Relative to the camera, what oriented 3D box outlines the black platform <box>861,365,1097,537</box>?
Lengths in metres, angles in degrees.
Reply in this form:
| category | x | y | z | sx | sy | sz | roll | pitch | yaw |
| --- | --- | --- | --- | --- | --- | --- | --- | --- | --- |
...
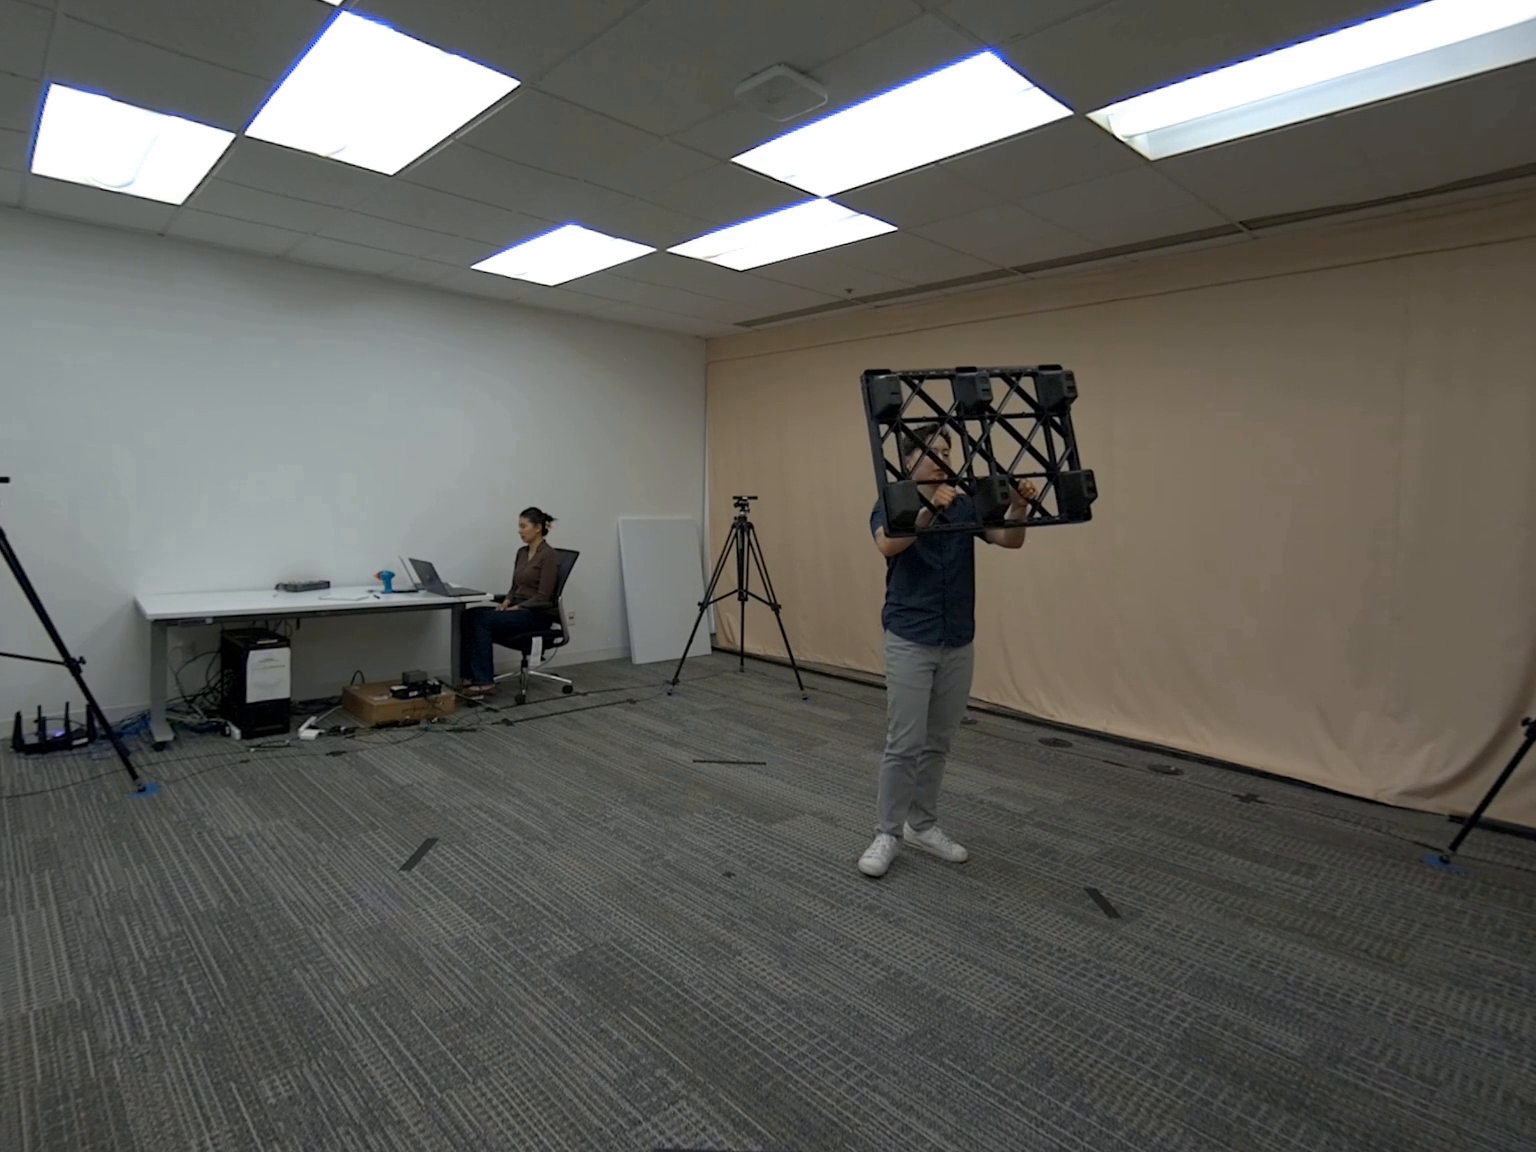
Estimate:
| category | x | y | z | sx | sy | sz | roll | pitch | yaw |
| --- | --- | --- | --- | --- | --- | --- | --- | --- | --- |
| black platform | 0.750 | -0.464 | 2.949 | 0.797 | 0.609 | 0.144 | -5 | -9 | -14 |
